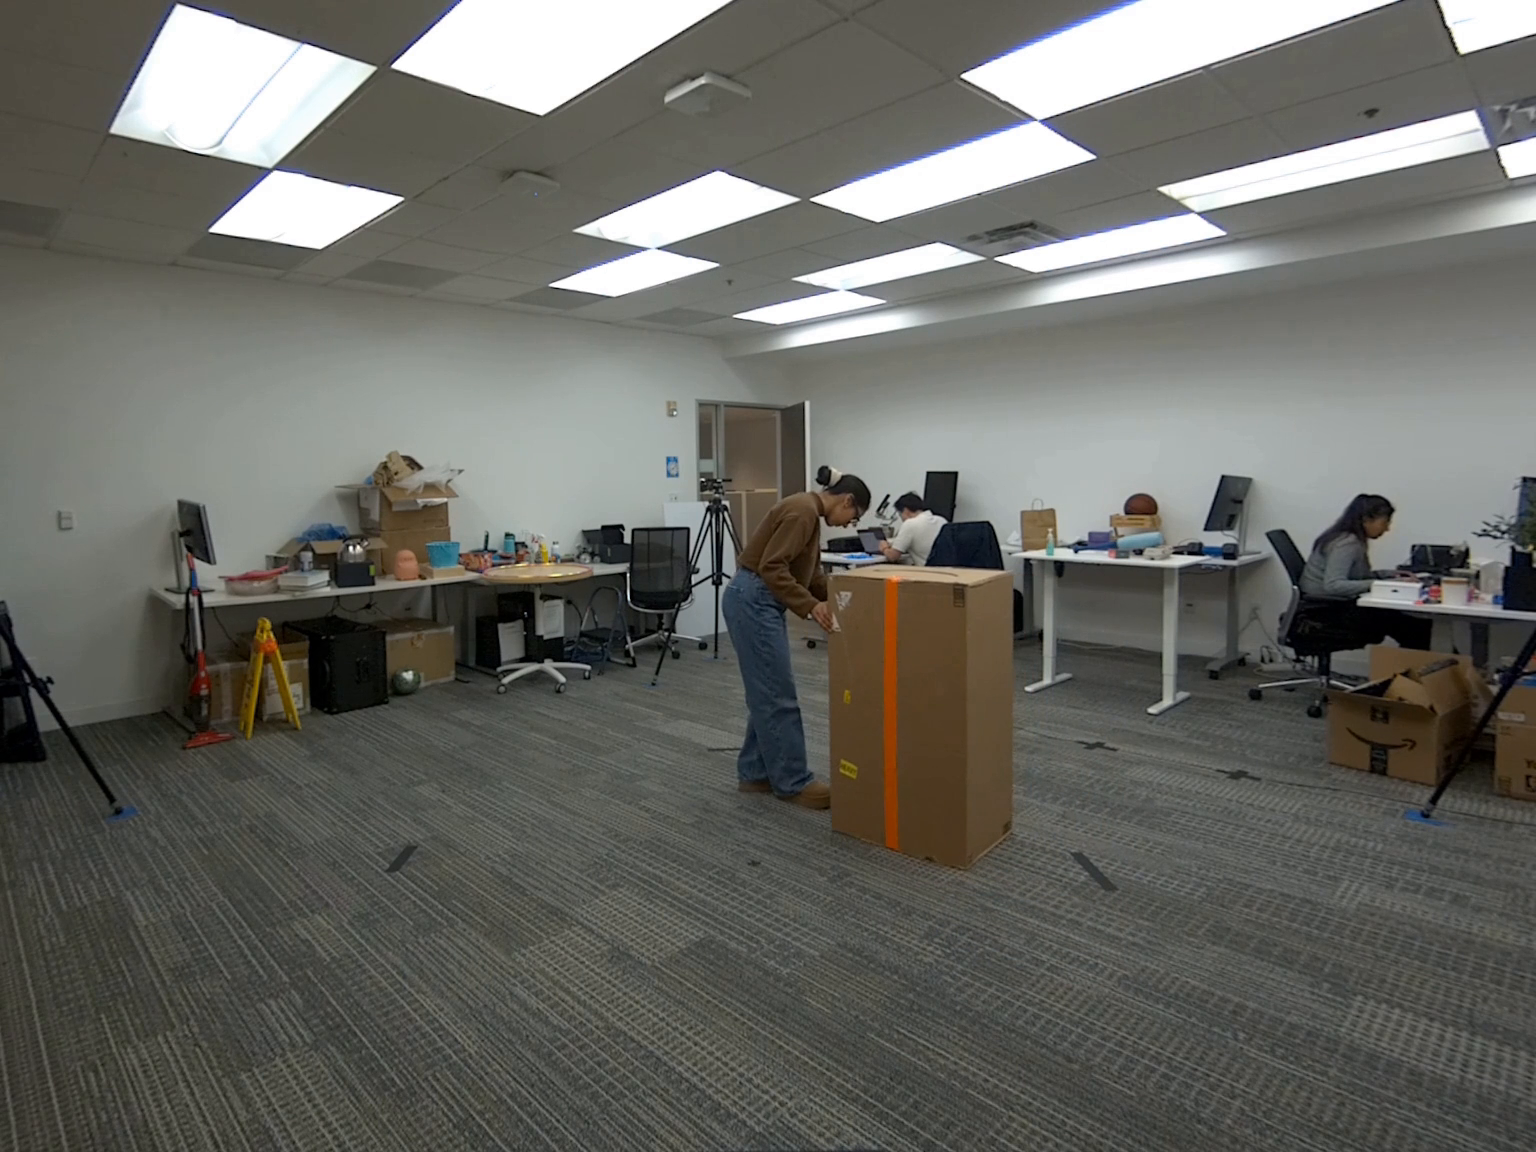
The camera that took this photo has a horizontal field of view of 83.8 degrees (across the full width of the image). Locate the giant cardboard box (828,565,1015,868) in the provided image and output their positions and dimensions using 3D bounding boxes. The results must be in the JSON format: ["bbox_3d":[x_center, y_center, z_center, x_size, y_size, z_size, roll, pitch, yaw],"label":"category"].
[{"bbox_3d":[0.595,0.499,3.316,0.595,1.022,0.415,3,6,40],"label":"giant cardboard box"}]
